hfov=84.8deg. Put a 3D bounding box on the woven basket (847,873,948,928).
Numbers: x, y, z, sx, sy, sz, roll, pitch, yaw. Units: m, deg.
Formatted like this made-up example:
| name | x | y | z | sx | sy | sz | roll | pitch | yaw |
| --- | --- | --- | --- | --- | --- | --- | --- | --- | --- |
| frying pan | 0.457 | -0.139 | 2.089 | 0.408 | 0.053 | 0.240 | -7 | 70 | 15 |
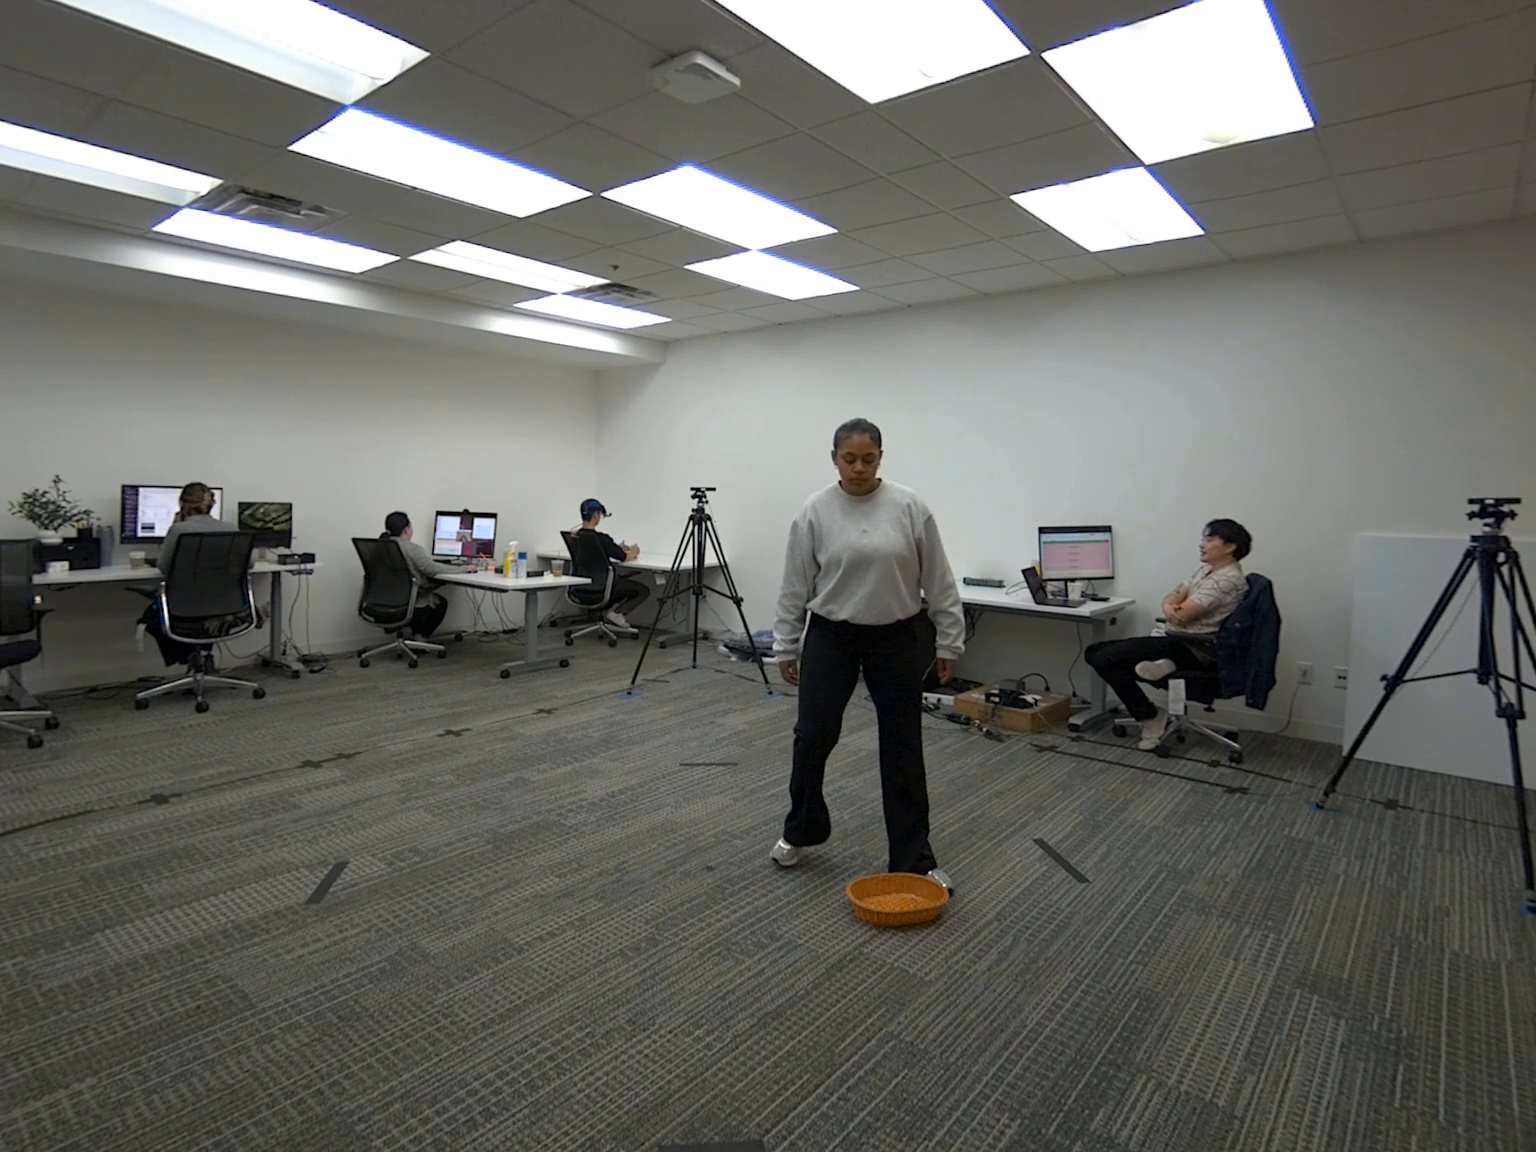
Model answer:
| name | x | y | z | sx | sy | sz | roll | pitch | yaw |
| --- | --- | --- | --- | --- | --- | --- | --- | --- | --- |
| woven basket | 0.420 | 1.074 | 2.819 | 0.345 | 0.073 | 0.257 | 0 | 4 | -15 |
